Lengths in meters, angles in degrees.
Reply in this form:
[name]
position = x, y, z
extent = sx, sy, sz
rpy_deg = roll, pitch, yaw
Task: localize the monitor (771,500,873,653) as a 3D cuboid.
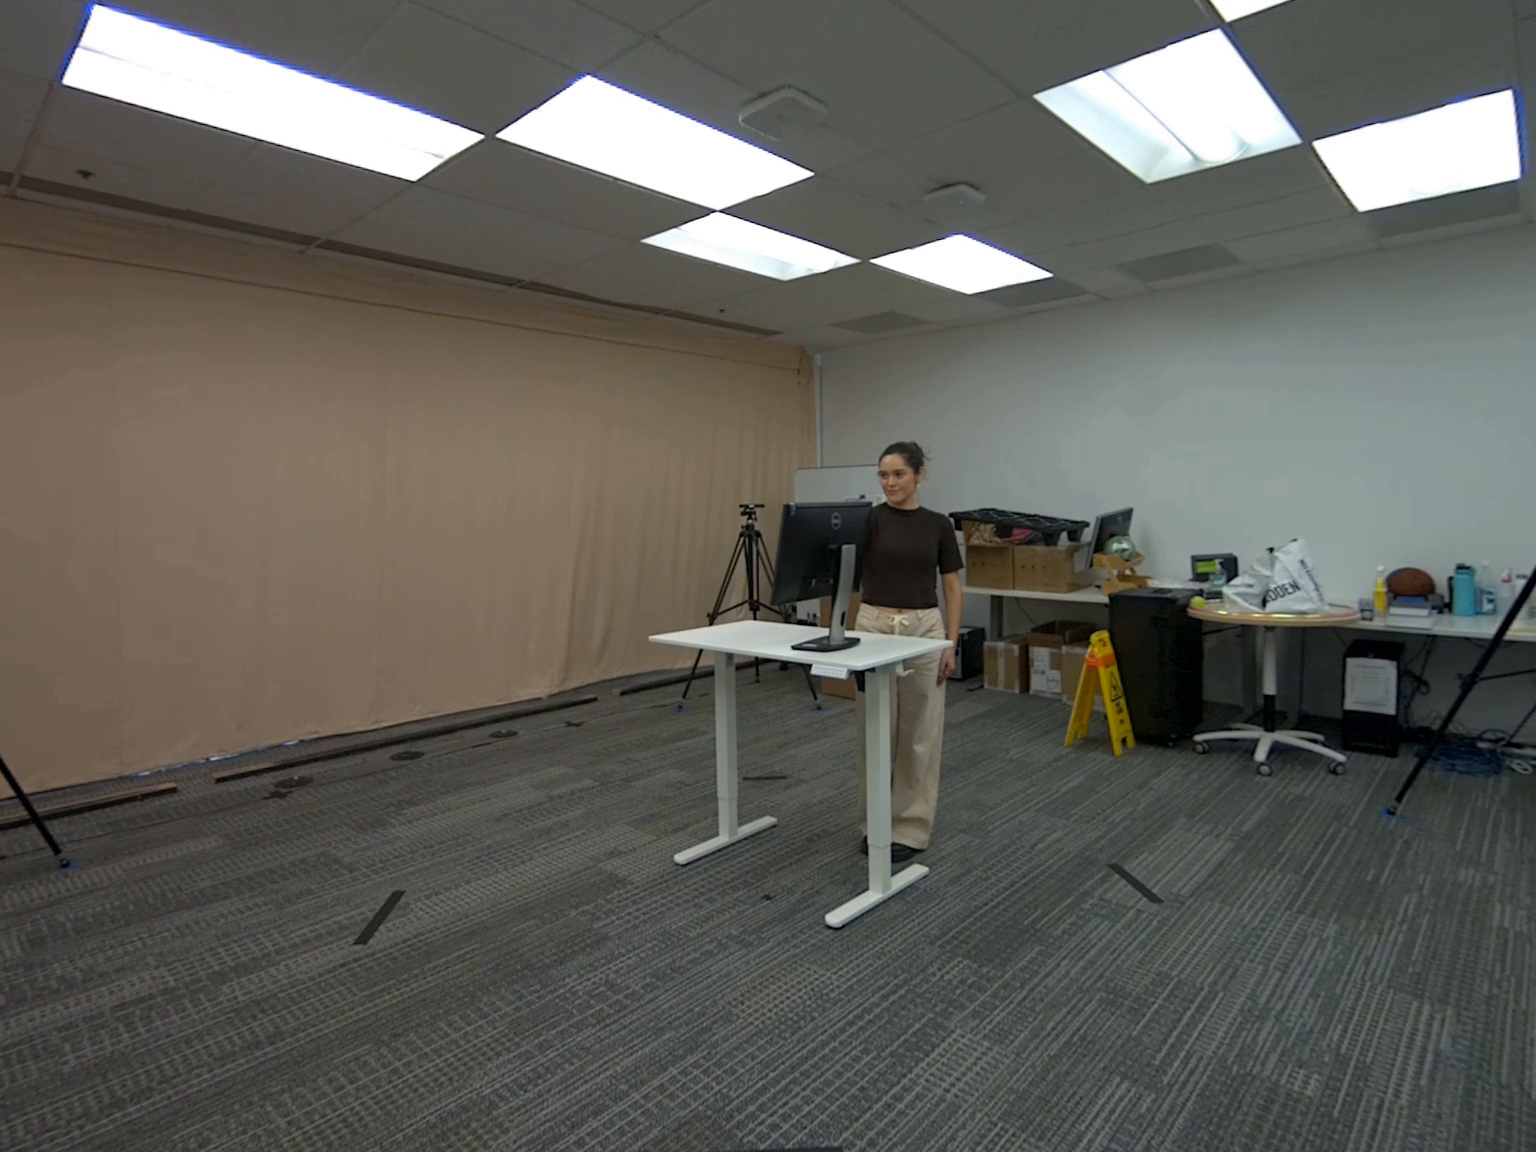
[monitor]
position = 0.221, 0.002, 2.989
extent = 0.193, 0.521, 0.523
rpy_deg = 2, 5, 39
